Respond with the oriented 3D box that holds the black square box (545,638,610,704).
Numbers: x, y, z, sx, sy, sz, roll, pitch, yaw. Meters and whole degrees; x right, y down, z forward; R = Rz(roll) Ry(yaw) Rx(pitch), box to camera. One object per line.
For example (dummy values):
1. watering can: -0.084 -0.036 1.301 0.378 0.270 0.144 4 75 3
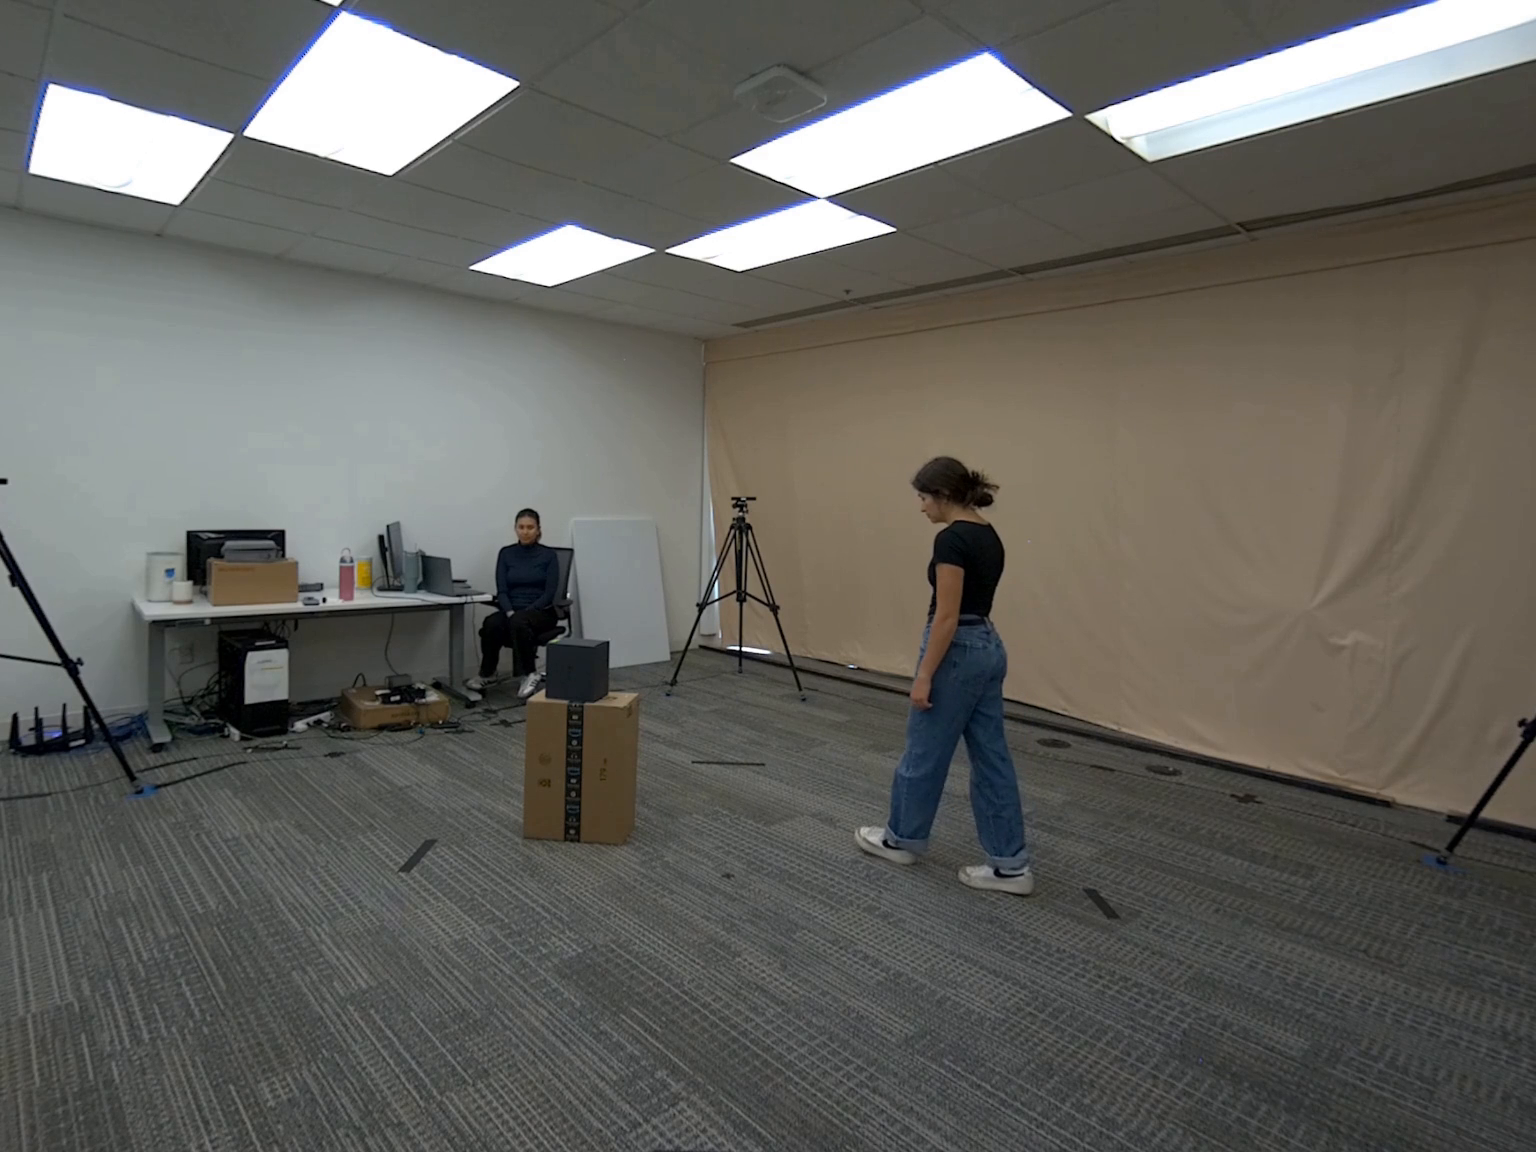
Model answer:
1. black square box: -0.786 0.374 3.451 0.219 0.227 0.154 1 3 13
